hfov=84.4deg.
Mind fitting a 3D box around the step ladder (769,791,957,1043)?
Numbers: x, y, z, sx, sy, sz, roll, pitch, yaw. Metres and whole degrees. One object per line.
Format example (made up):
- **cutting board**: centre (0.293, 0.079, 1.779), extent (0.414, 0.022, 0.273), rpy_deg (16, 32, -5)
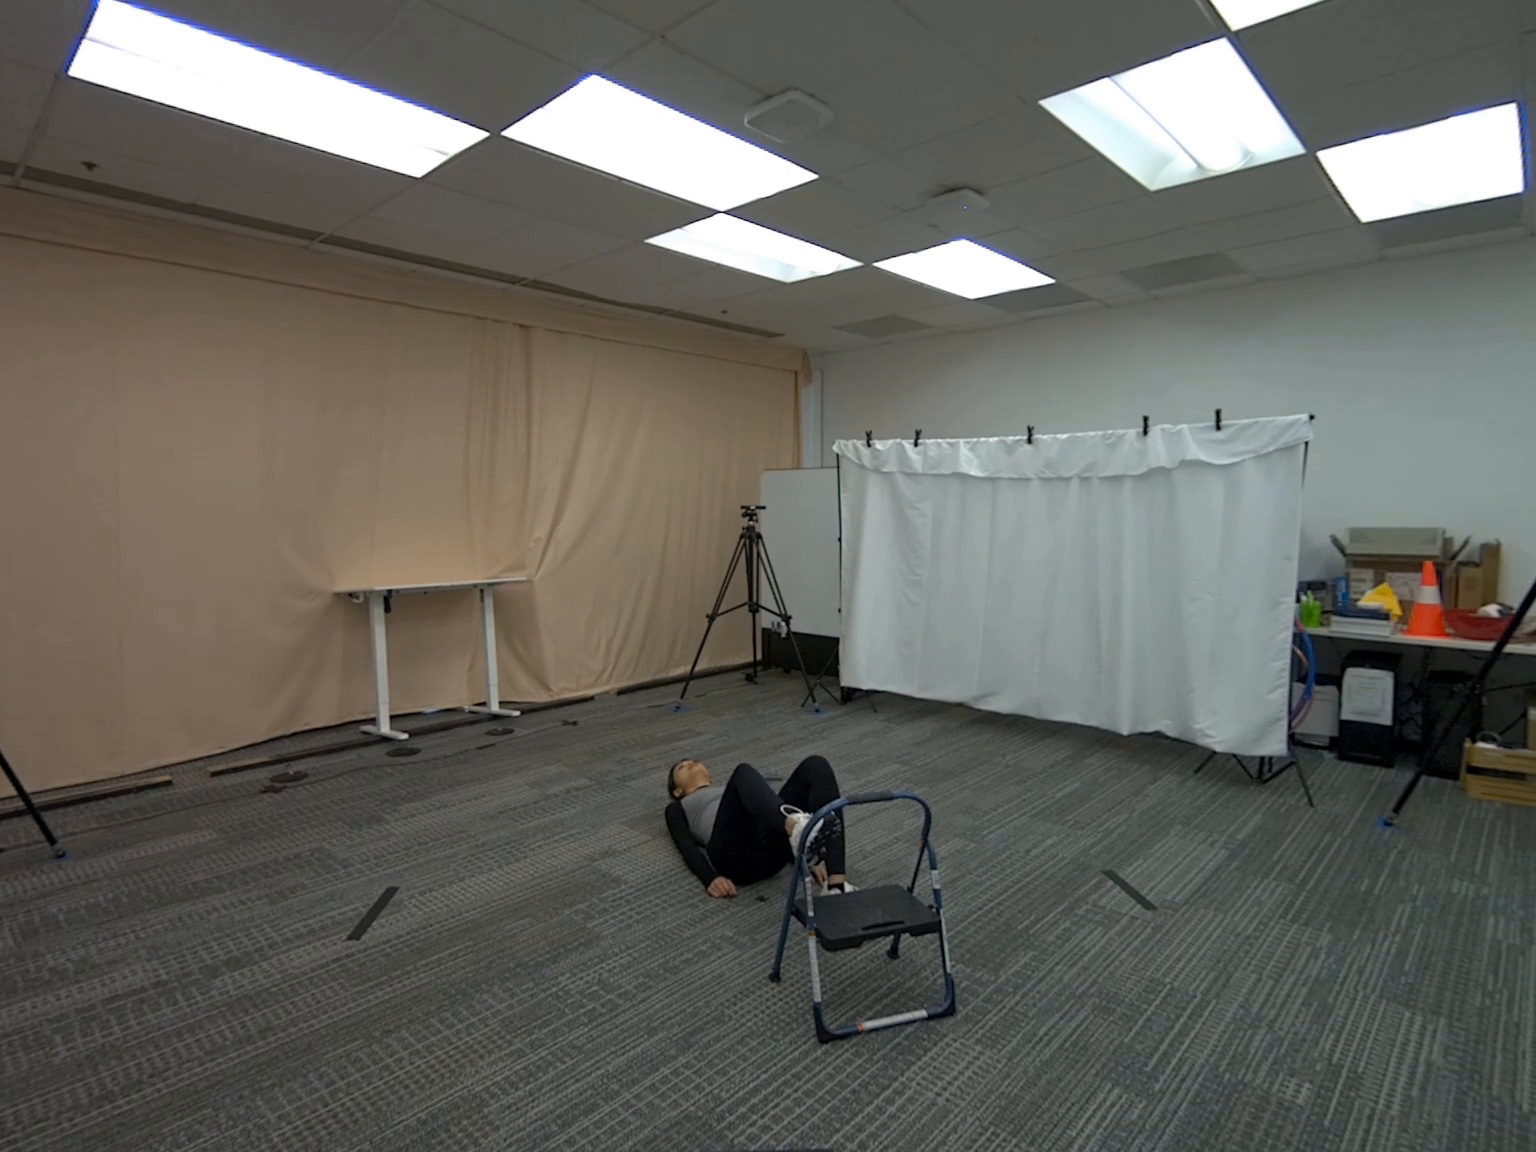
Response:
- **step ladder**: centre (0.271, 0.893, 2.382), extent (0.422, 0.605, 0.357), rpy_deg (-1, 3, -21)
